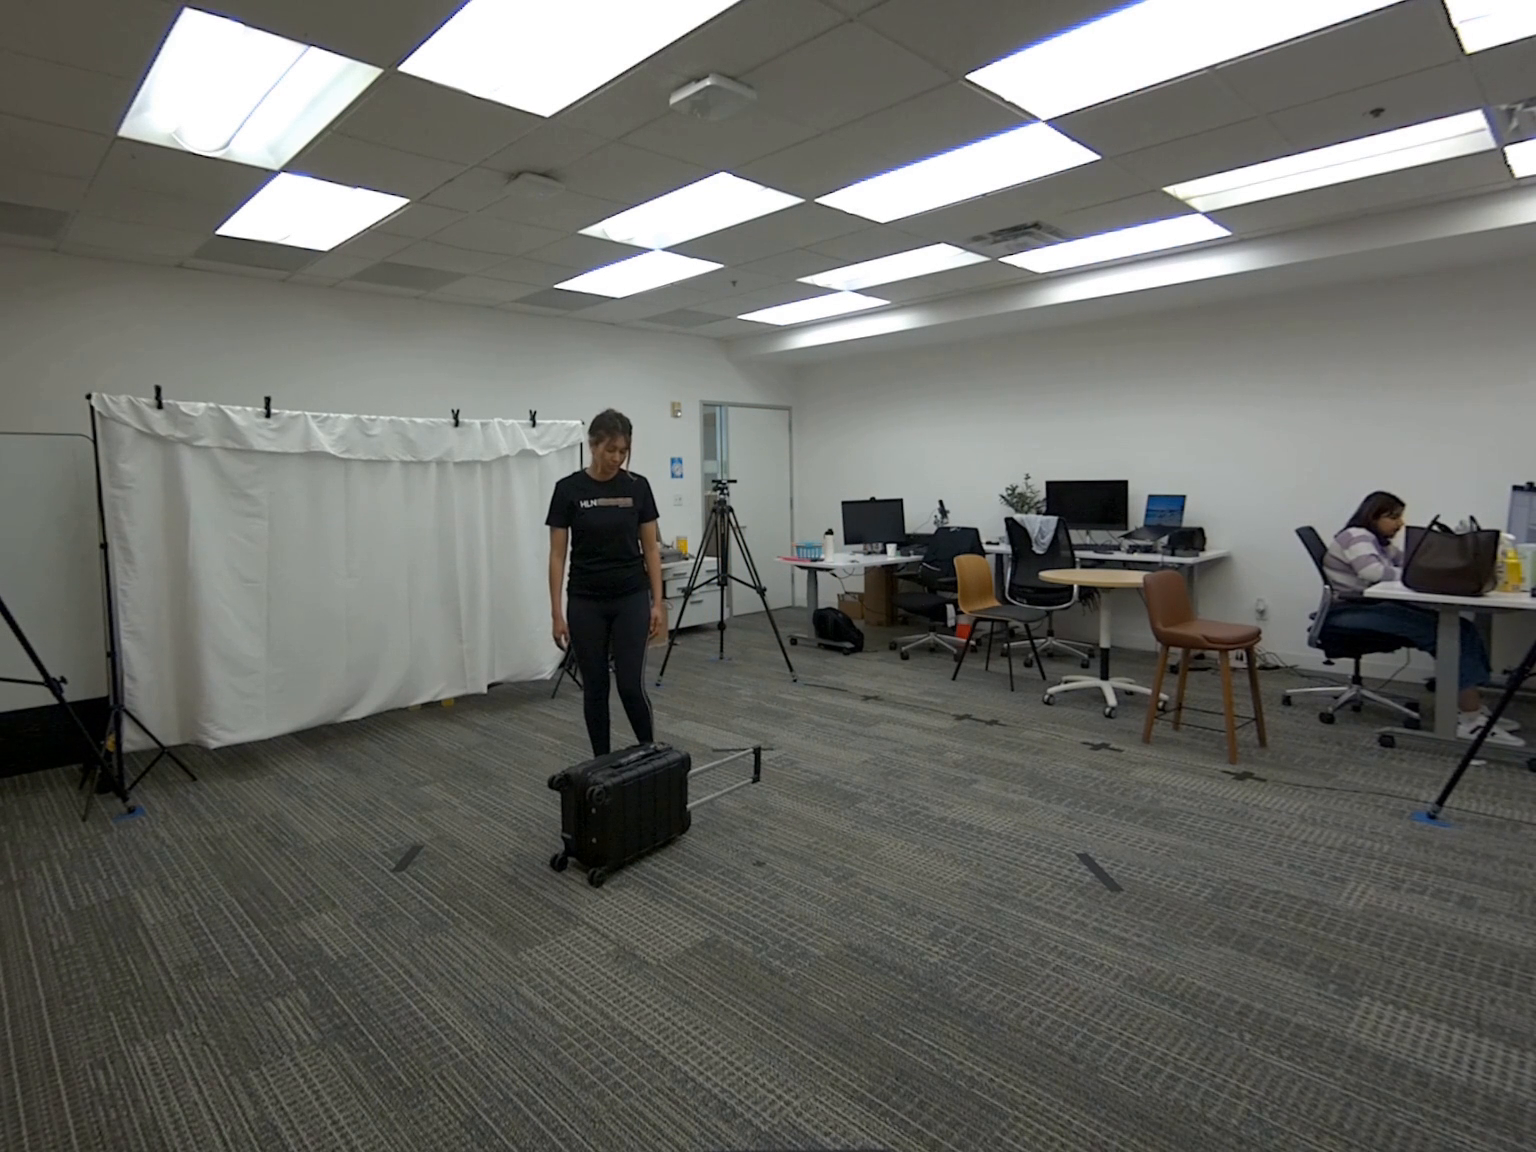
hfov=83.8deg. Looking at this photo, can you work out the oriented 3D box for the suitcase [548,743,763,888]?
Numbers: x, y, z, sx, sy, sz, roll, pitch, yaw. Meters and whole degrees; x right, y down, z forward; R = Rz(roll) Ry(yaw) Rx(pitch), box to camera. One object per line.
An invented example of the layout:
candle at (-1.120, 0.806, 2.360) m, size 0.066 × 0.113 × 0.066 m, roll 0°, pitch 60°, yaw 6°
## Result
suitcase at (-0.411, 0.838, 3.378) m, size 0.264 × 0.382 × 0.955 m, roll 3°, pitch 7°, yaw 35°
